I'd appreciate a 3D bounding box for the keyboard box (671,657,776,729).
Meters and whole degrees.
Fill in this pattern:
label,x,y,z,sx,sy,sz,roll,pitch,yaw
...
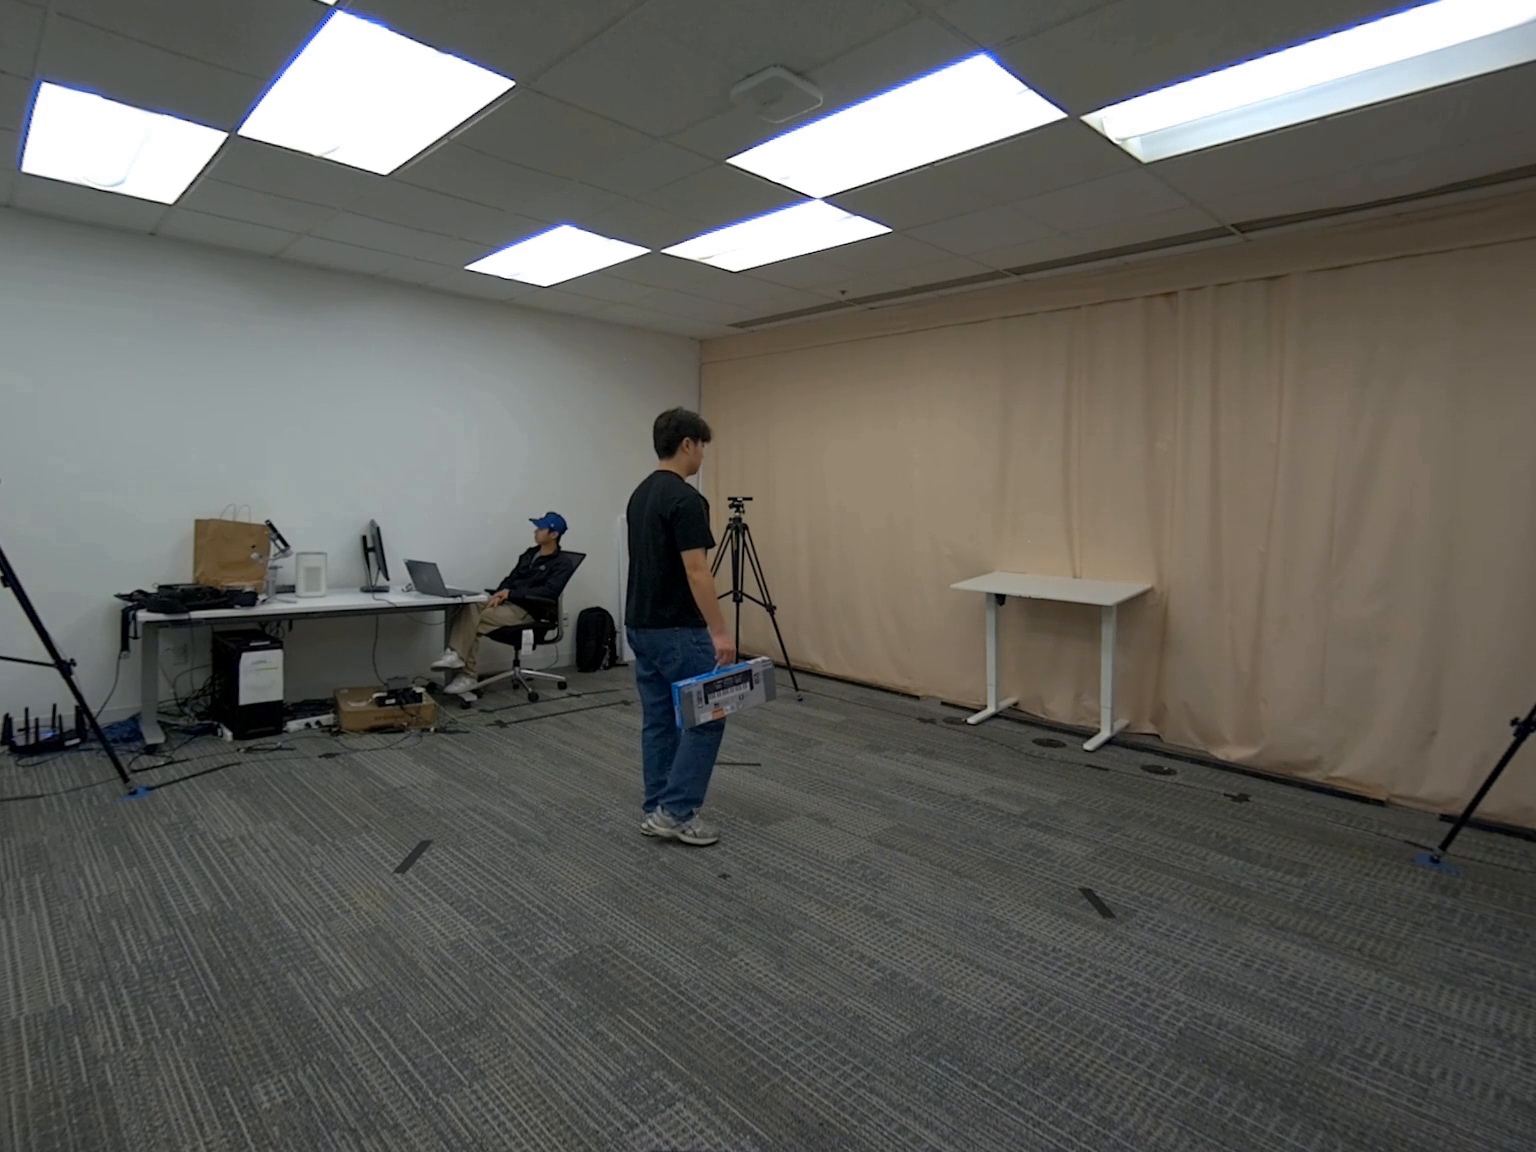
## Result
label,x,y,z,sx,sy,sz,roll,pitch,yaw
keyboard box,-0.171,0.454,3.273,0.429,0.174,0.060,-13,12,-32
